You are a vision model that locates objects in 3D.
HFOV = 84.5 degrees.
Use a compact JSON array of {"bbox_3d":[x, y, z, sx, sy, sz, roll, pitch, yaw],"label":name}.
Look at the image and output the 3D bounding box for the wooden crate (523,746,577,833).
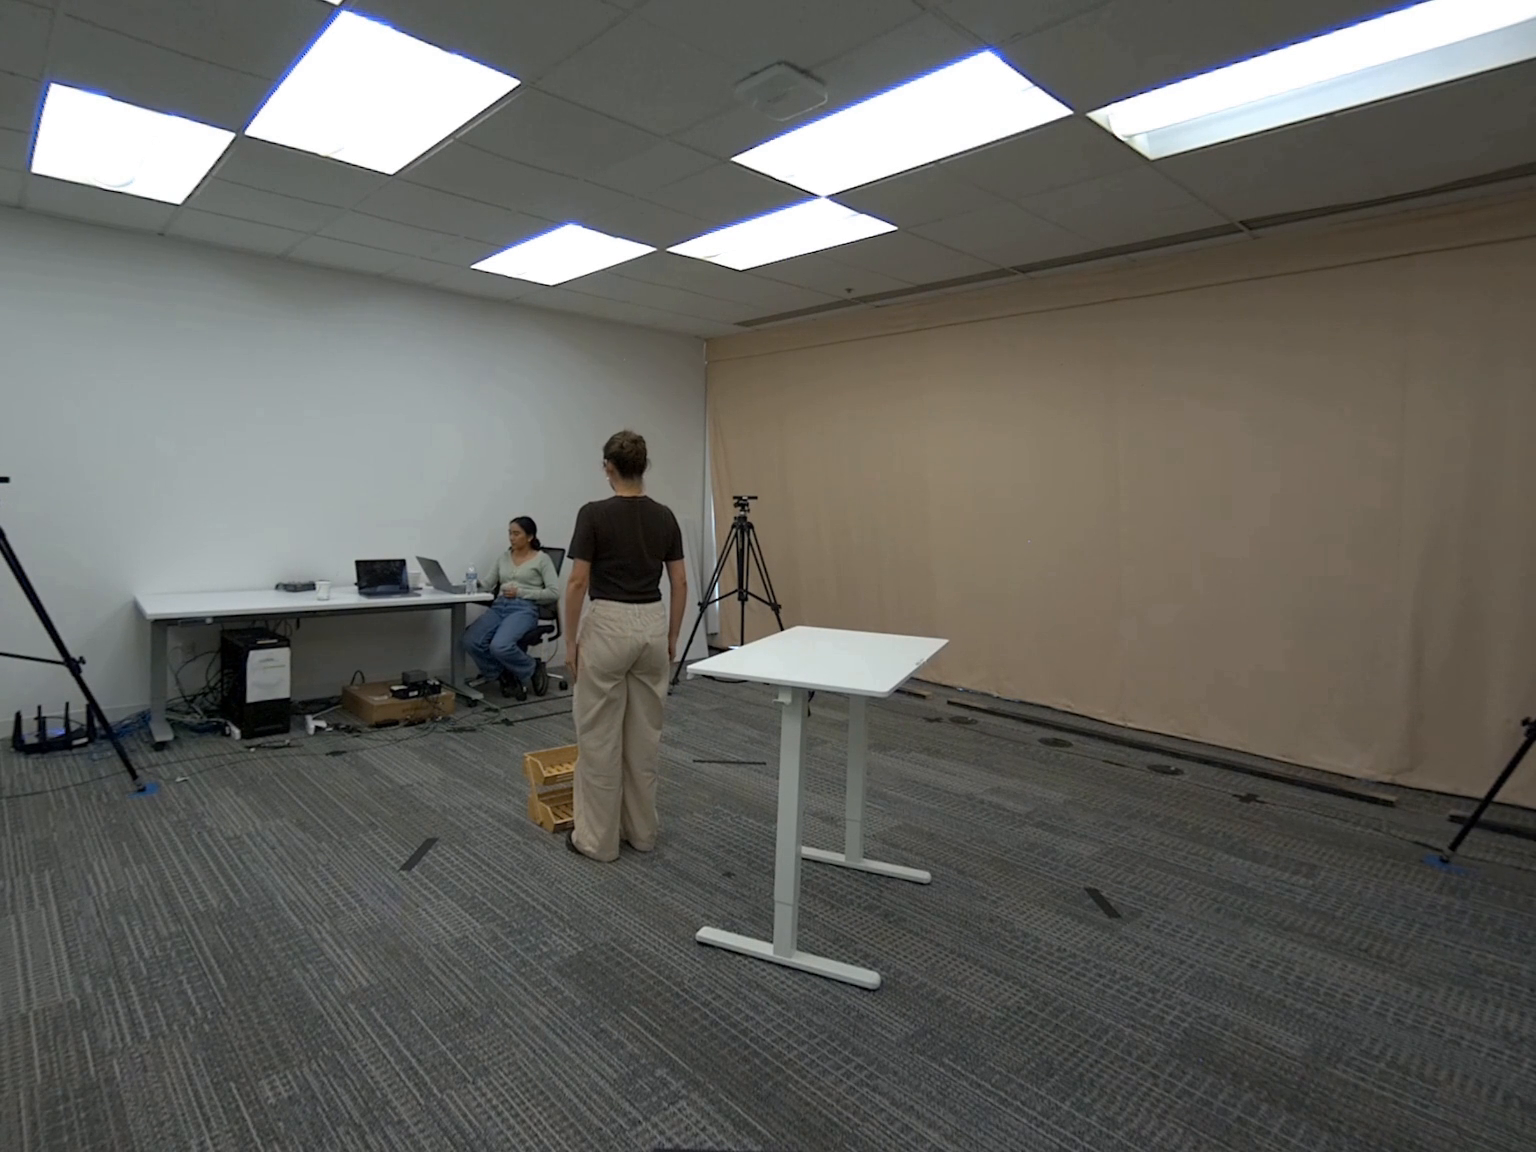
[{"bbox_3d":[-0.862,0.903,3.636,0.317,0.272,0.309,-3,5,-39],"label":"wooden crate"}]
